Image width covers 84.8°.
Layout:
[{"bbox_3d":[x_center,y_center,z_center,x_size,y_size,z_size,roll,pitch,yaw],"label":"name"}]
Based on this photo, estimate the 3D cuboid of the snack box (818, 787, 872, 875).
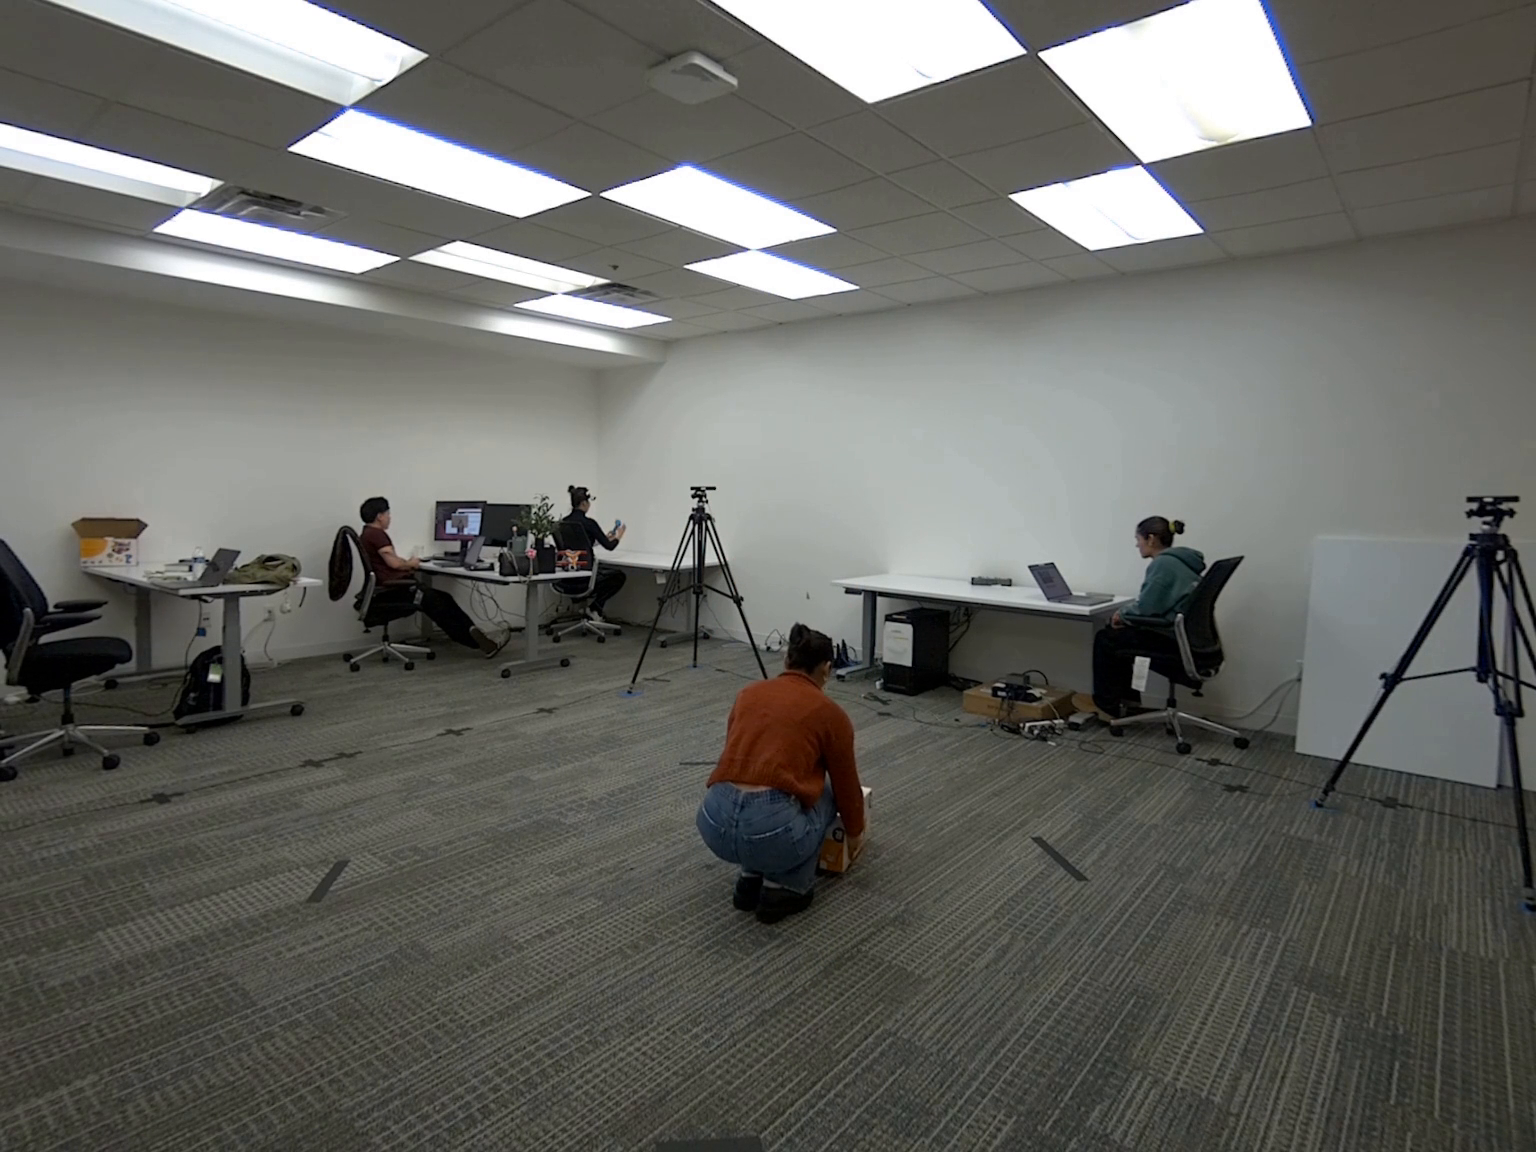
[{"bbox_3d":[0.180,0.923,3.276,0.348,0.205,0.396,4,3,22],"label":"snack box"}]
